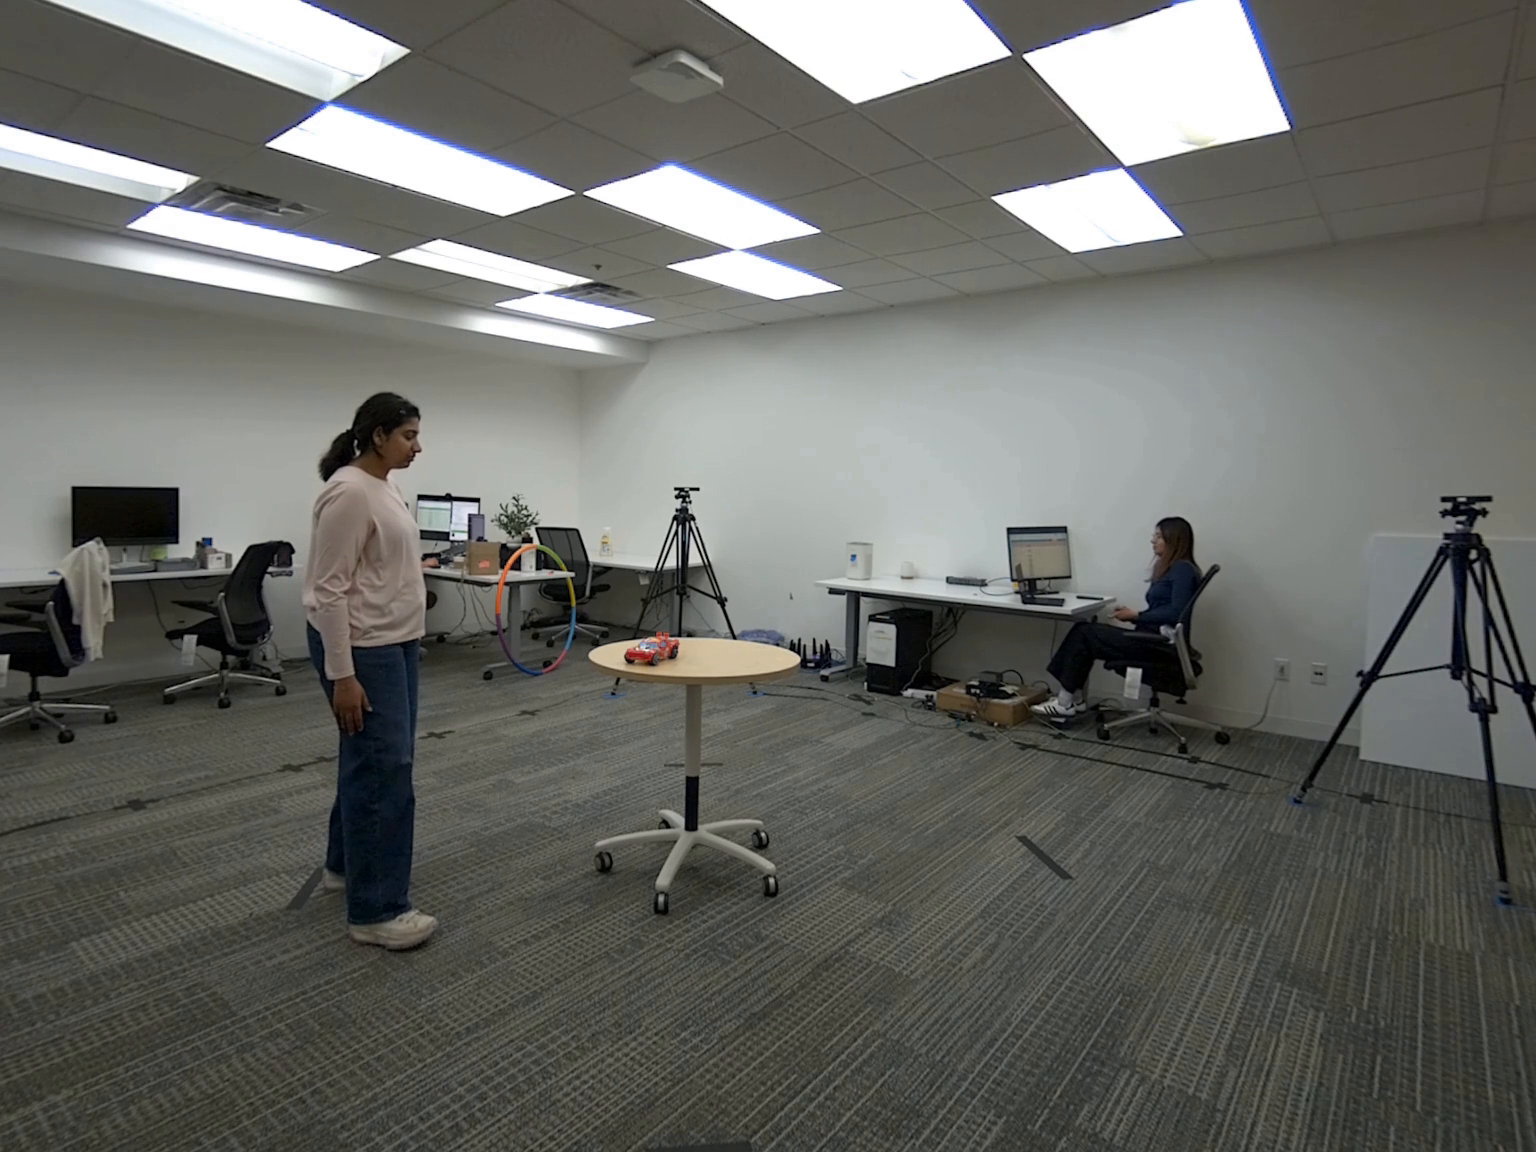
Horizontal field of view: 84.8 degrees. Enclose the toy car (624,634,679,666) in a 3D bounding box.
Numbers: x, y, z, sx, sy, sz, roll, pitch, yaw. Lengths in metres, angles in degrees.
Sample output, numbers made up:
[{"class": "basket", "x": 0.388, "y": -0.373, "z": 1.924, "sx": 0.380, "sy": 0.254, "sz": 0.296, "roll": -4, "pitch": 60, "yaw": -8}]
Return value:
[{"class": "toy car", "x": -0.406, "y": 0.263, "z": 2.982, "sx": 0.133, "sy": 0.082, "sz": 0.252, "roll": 2, "pitch": 16, "yaw": 20}]
